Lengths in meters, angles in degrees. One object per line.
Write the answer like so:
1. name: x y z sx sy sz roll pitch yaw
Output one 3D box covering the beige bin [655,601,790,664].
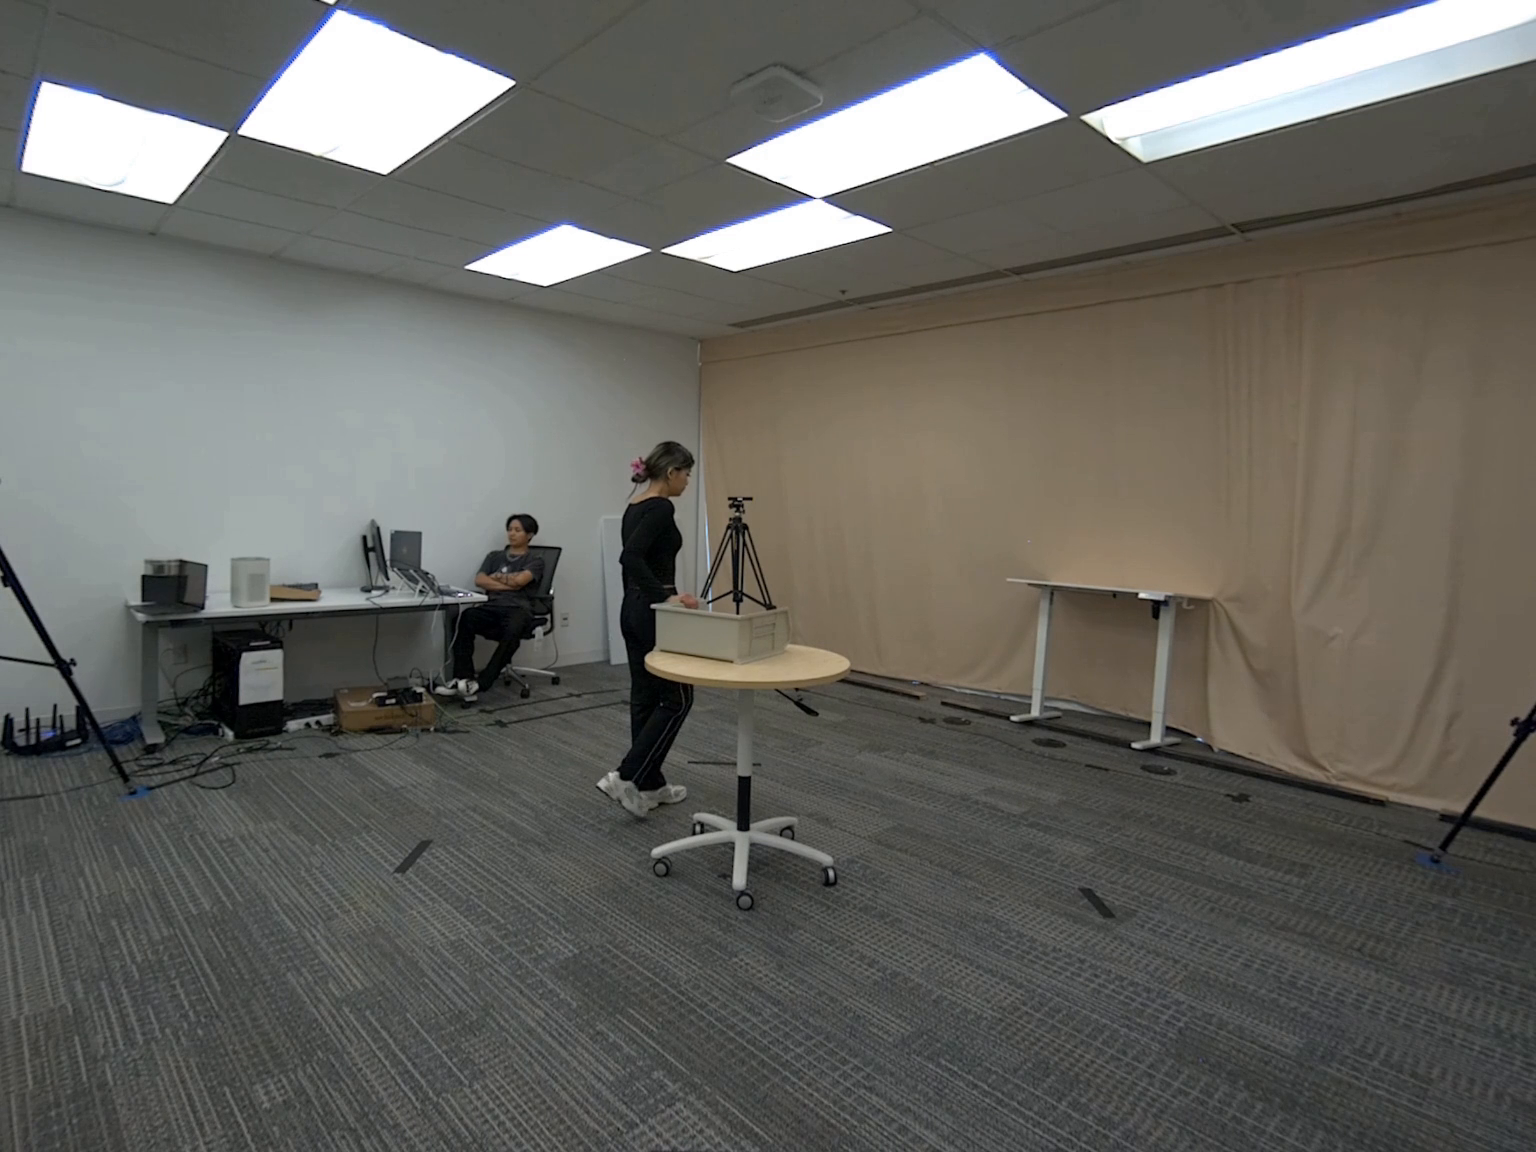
1. beige bin: -0.184 0.204 3.293 0.432 0.188 0.370 6 8 32
